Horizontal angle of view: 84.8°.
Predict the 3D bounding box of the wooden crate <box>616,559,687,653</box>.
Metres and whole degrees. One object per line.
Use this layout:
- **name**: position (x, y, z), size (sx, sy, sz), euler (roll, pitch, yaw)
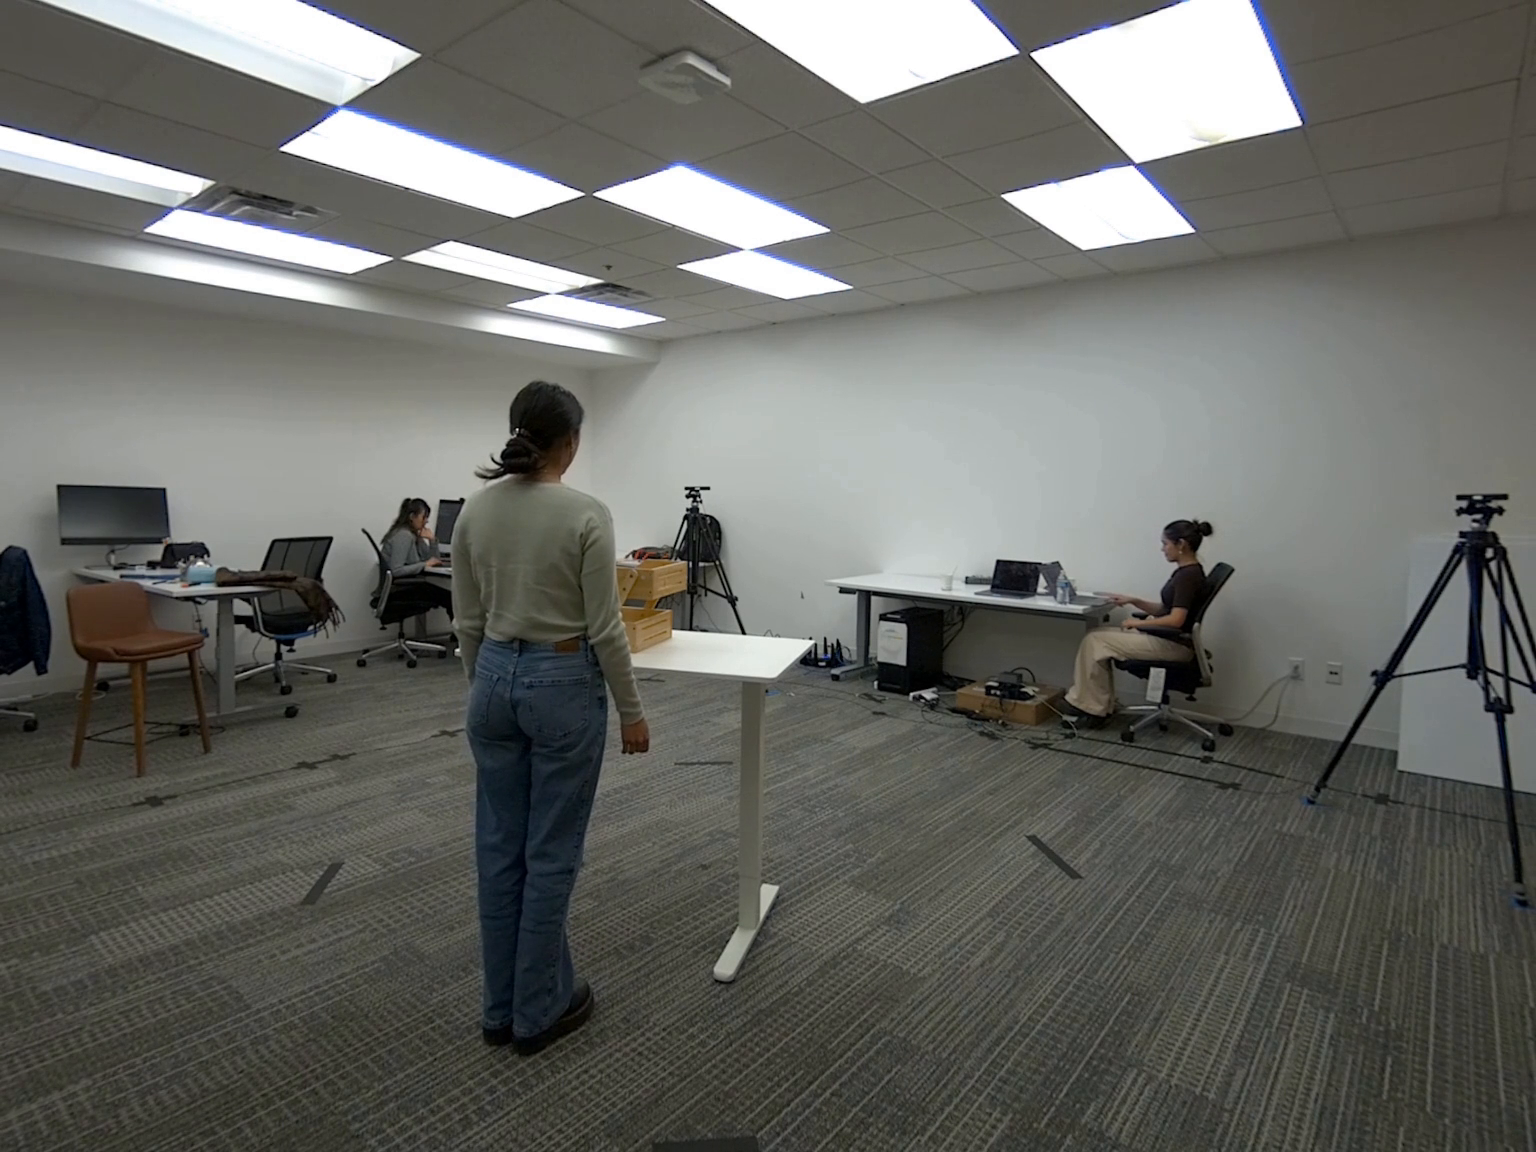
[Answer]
- **wooden crate**: position (-0.468, 0.077, 2.760), size (0.307, 0.272, 0.320), euler (4, 5, 15)
